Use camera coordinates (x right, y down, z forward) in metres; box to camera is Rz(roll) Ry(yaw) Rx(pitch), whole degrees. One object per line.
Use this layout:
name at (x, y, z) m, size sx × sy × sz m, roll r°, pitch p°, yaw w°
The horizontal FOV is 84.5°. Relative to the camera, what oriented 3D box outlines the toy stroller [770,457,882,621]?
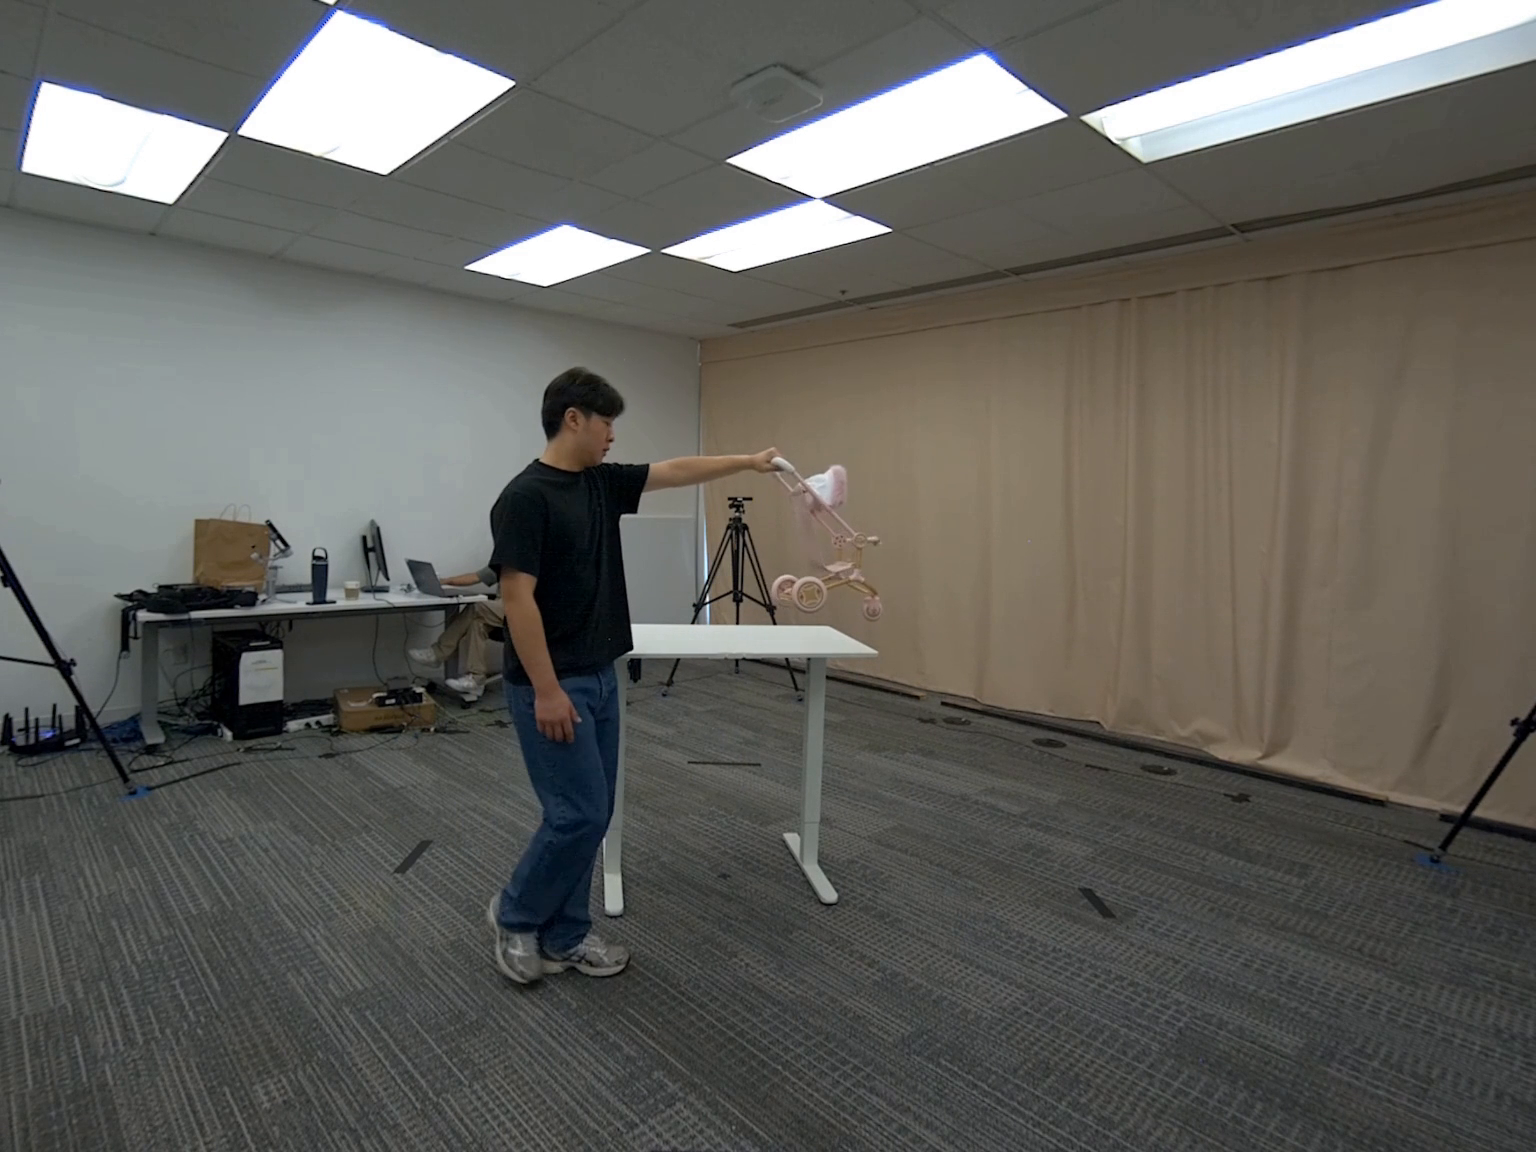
toy stroller at (0.181, -0.110, 2.669) m, size 0.339 × 0.535 × 0.282 m, roll -4°, pitch -1°, yaw -7°
